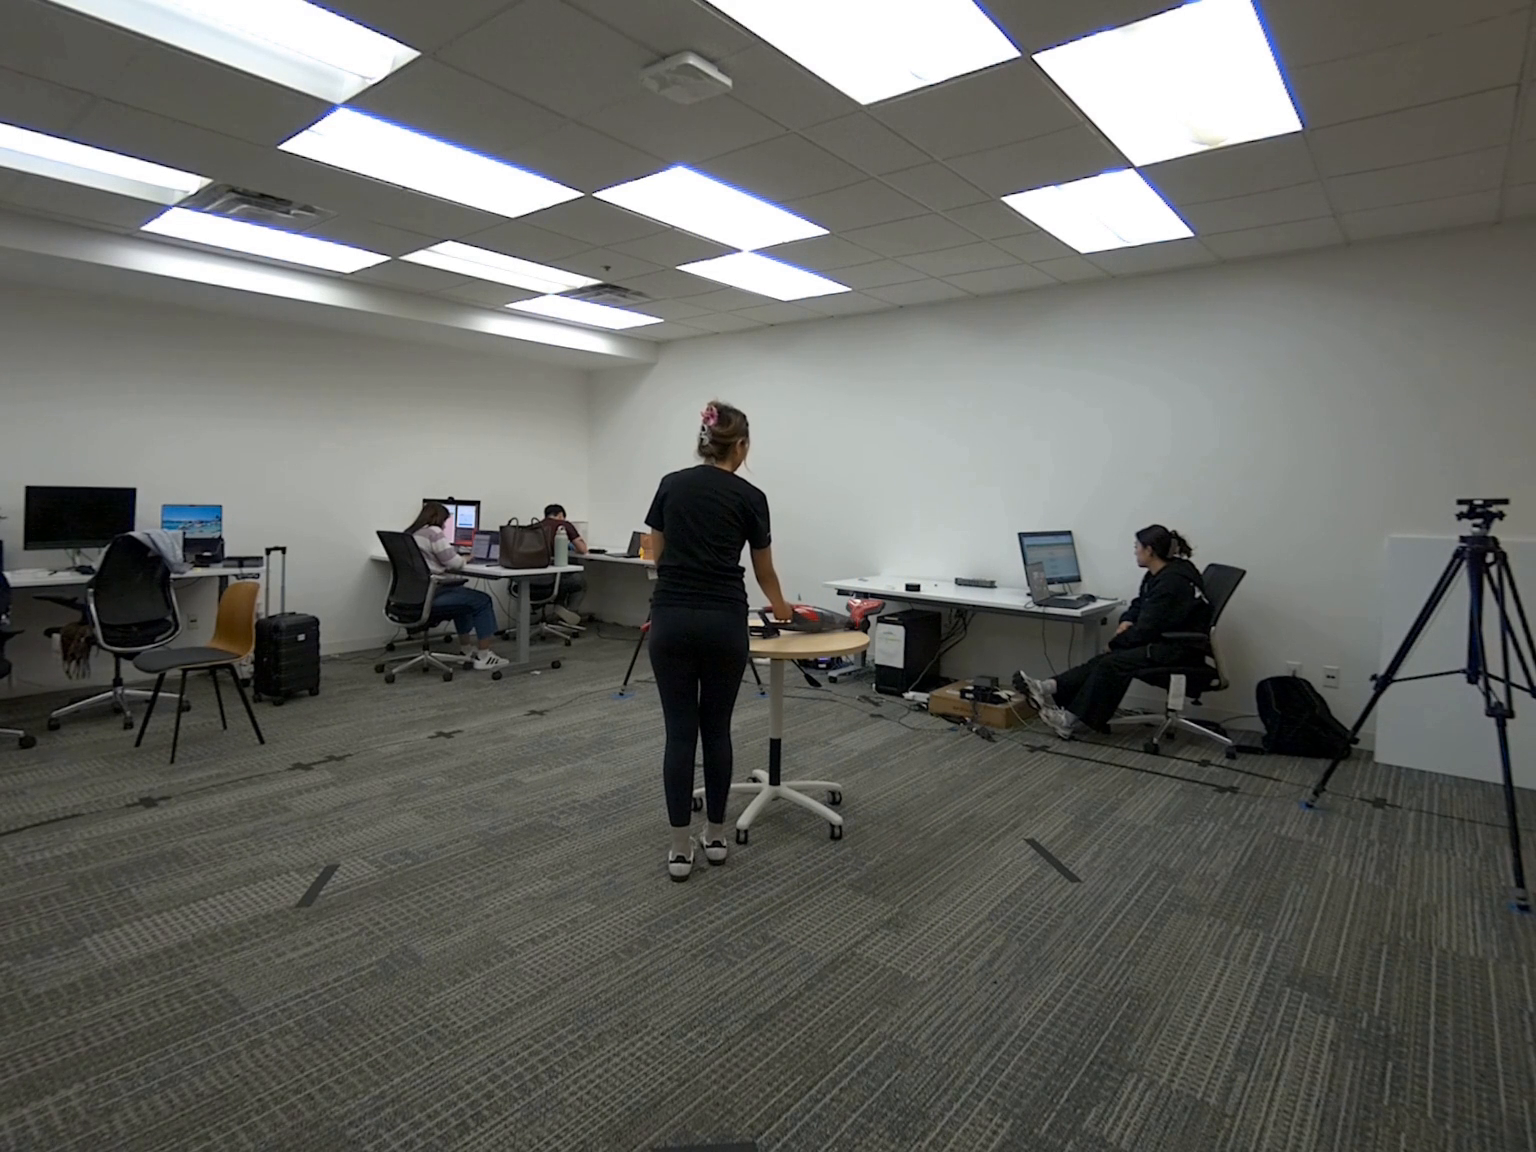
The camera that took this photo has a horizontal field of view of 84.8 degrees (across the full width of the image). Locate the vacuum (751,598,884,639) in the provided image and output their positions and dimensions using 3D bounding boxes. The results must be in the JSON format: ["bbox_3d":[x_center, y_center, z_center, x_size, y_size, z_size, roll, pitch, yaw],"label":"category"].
[{"bbox_3d":[-0.031,0.199,3.552,1.025,0.143,0.259,-3,4,-26],"label":"vacuum"}]
